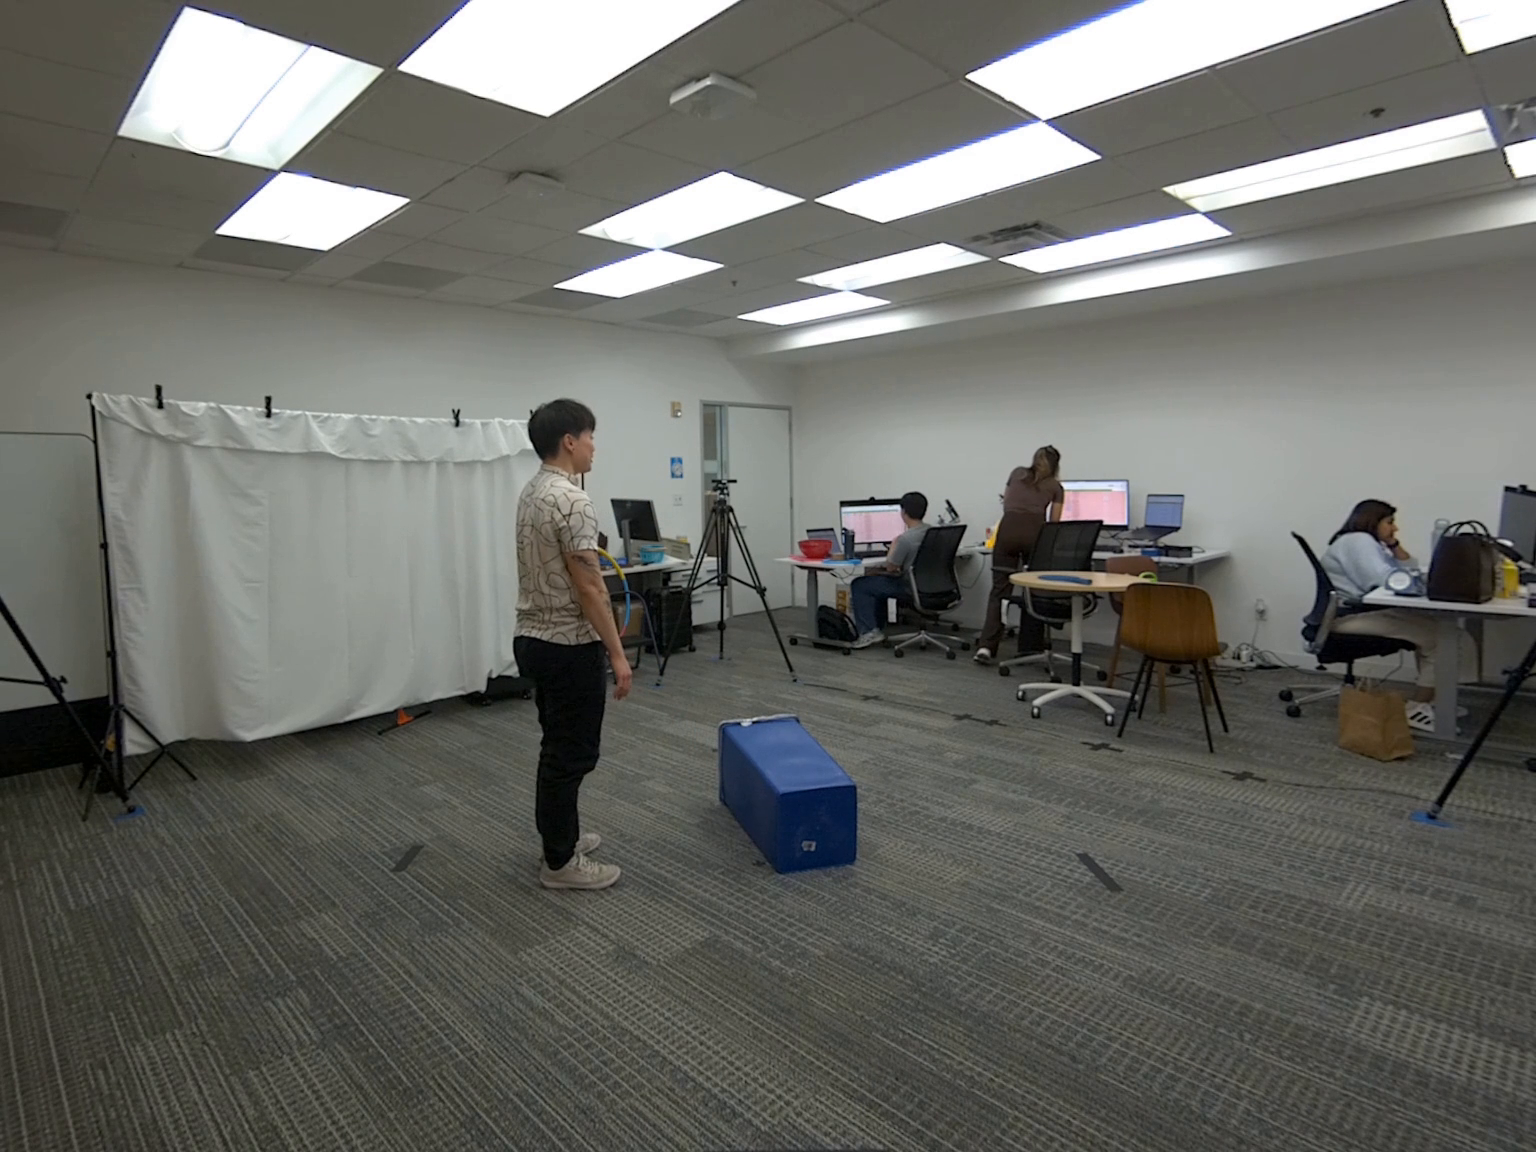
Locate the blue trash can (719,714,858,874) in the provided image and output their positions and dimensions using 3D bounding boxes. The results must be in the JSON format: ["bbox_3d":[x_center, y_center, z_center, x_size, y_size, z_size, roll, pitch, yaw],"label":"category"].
[{"bbox_3d":[0.061,0.845,3.380,0.373,0.371,0.729,-3,9,-16],"label":"blue trash can"}]
